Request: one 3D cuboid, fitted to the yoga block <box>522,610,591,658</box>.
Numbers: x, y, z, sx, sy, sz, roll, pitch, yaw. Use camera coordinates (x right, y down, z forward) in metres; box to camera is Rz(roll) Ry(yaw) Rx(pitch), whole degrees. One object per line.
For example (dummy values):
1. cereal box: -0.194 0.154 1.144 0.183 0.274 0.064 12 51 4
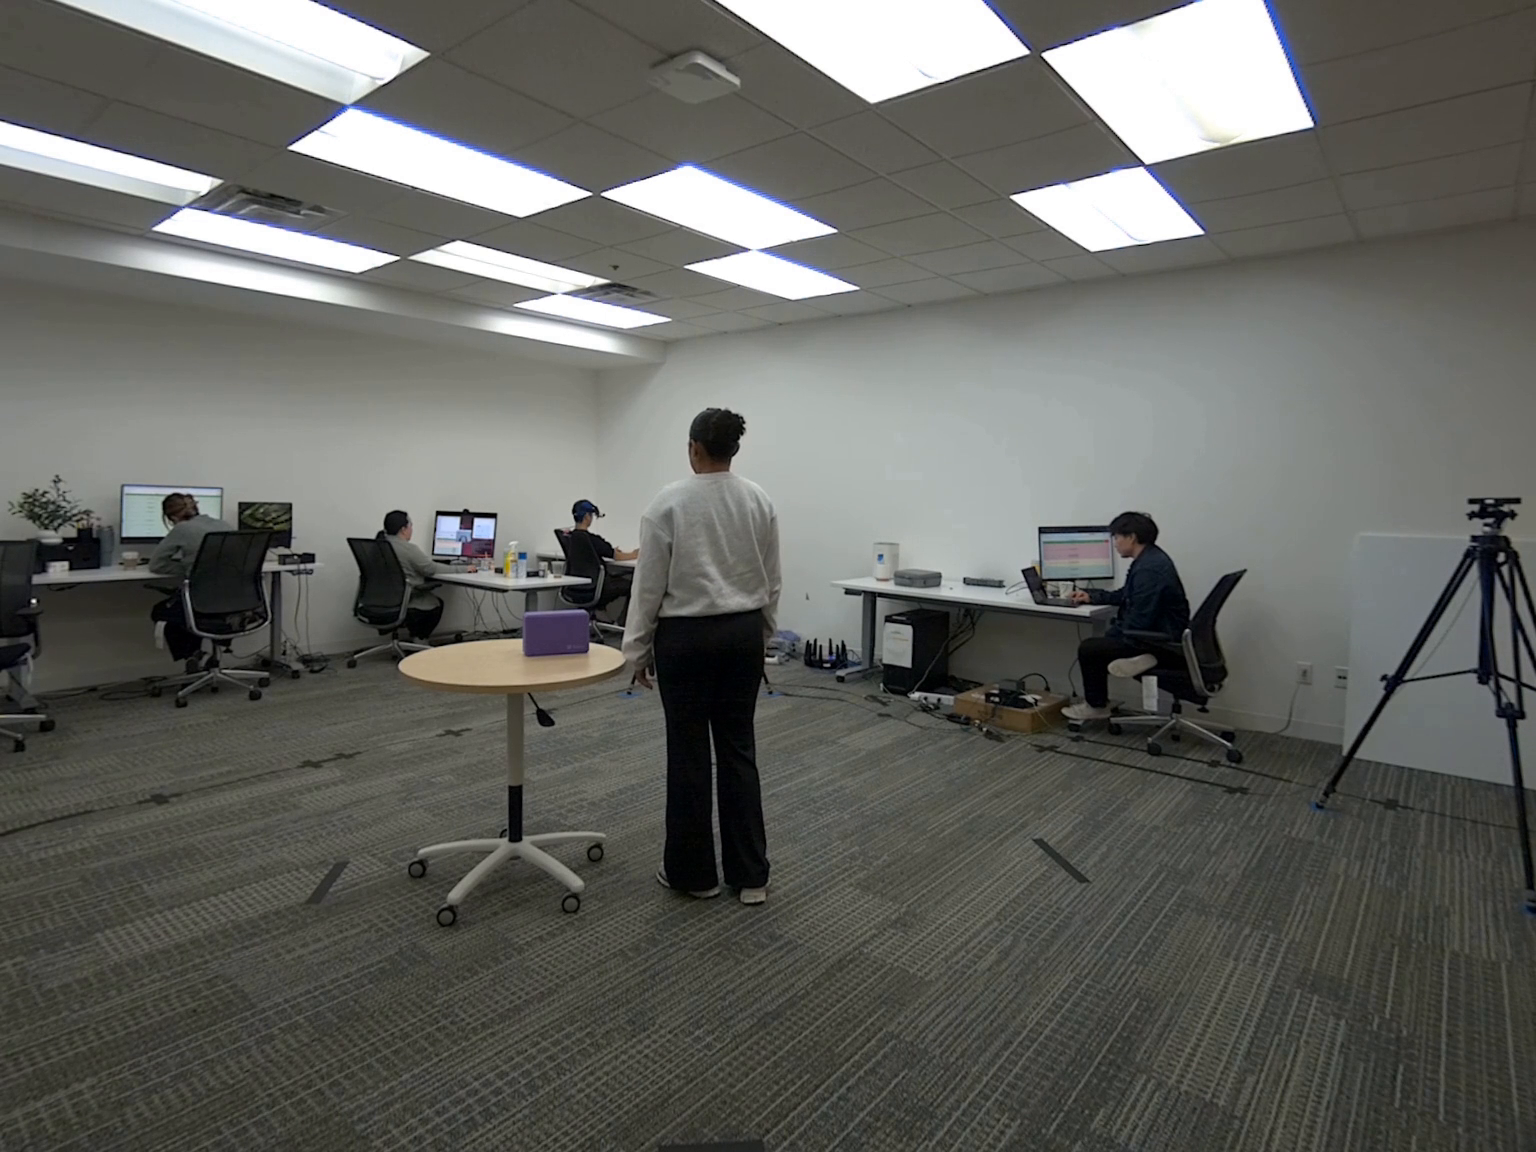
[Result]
1. yoga block: -0.771 0.204 3.069 0.225 0.148 0.078 -2 4 -17
